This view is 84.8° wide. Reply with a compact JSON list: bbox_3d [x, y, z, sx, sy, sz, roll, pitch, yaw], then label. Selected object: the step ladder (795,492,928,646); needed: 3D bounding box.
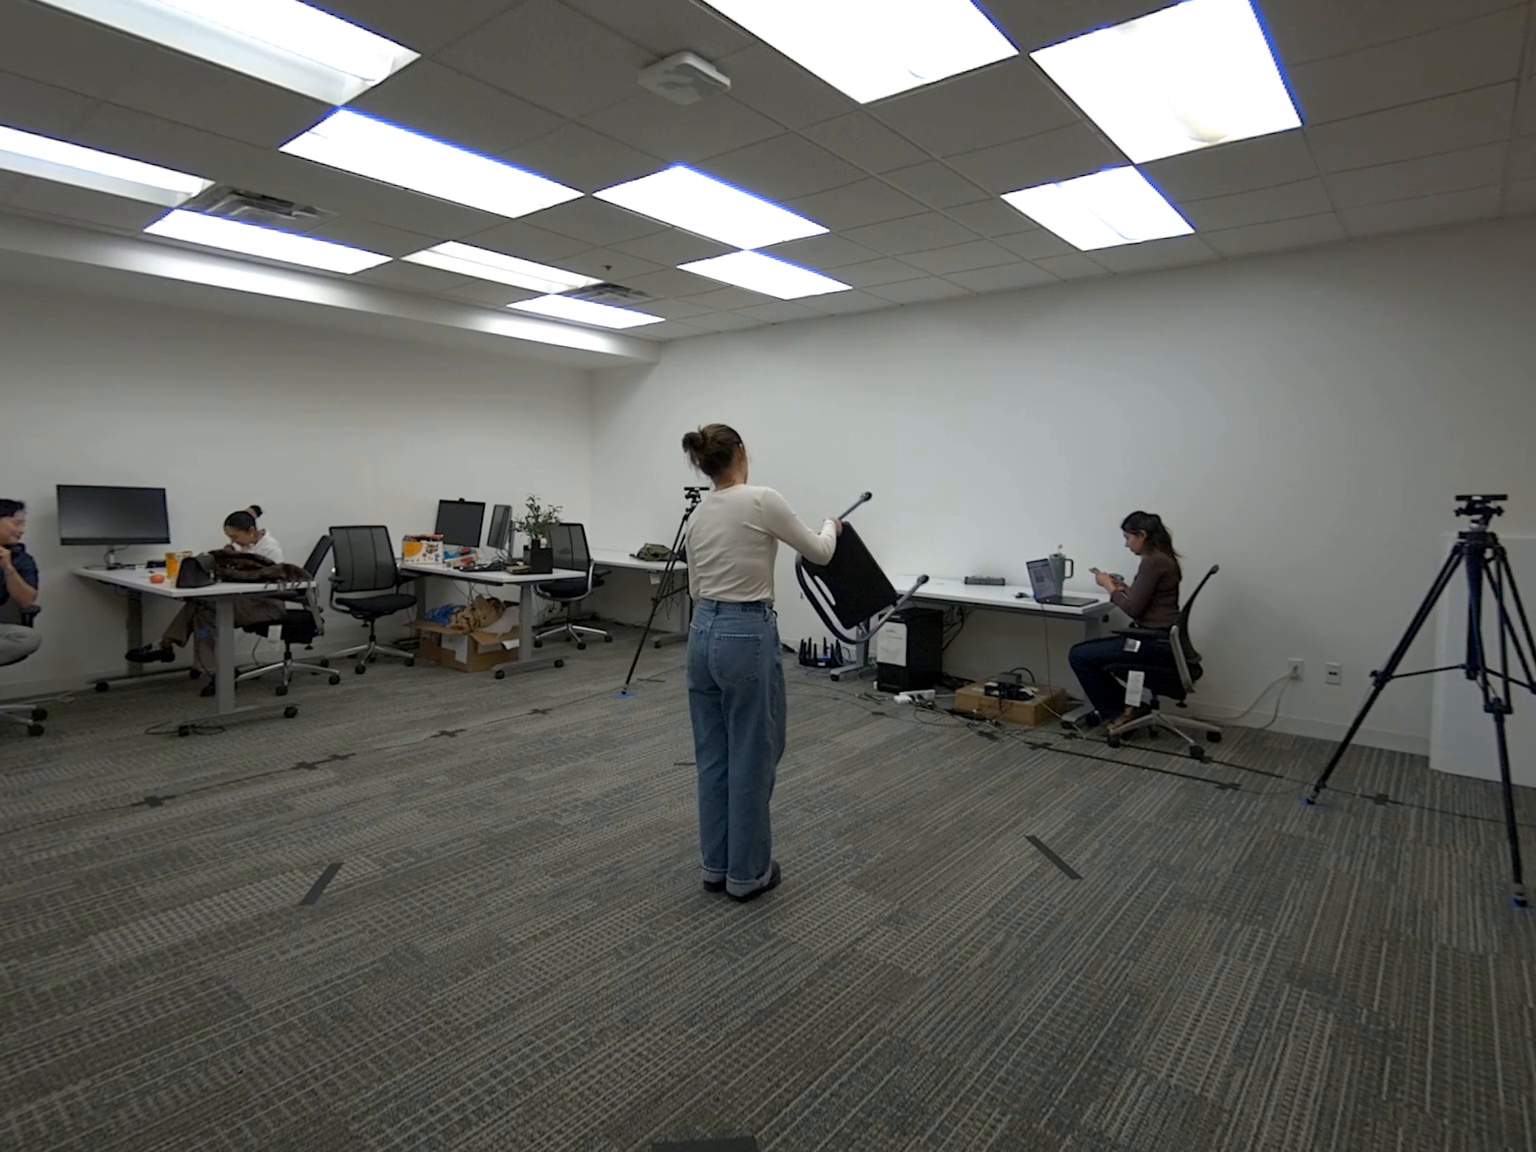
[{"bbox_3d":[0.294,-0.004,3.135,0.351,0.431,0.602,-35,2,21],"label":"step ladder"}]
